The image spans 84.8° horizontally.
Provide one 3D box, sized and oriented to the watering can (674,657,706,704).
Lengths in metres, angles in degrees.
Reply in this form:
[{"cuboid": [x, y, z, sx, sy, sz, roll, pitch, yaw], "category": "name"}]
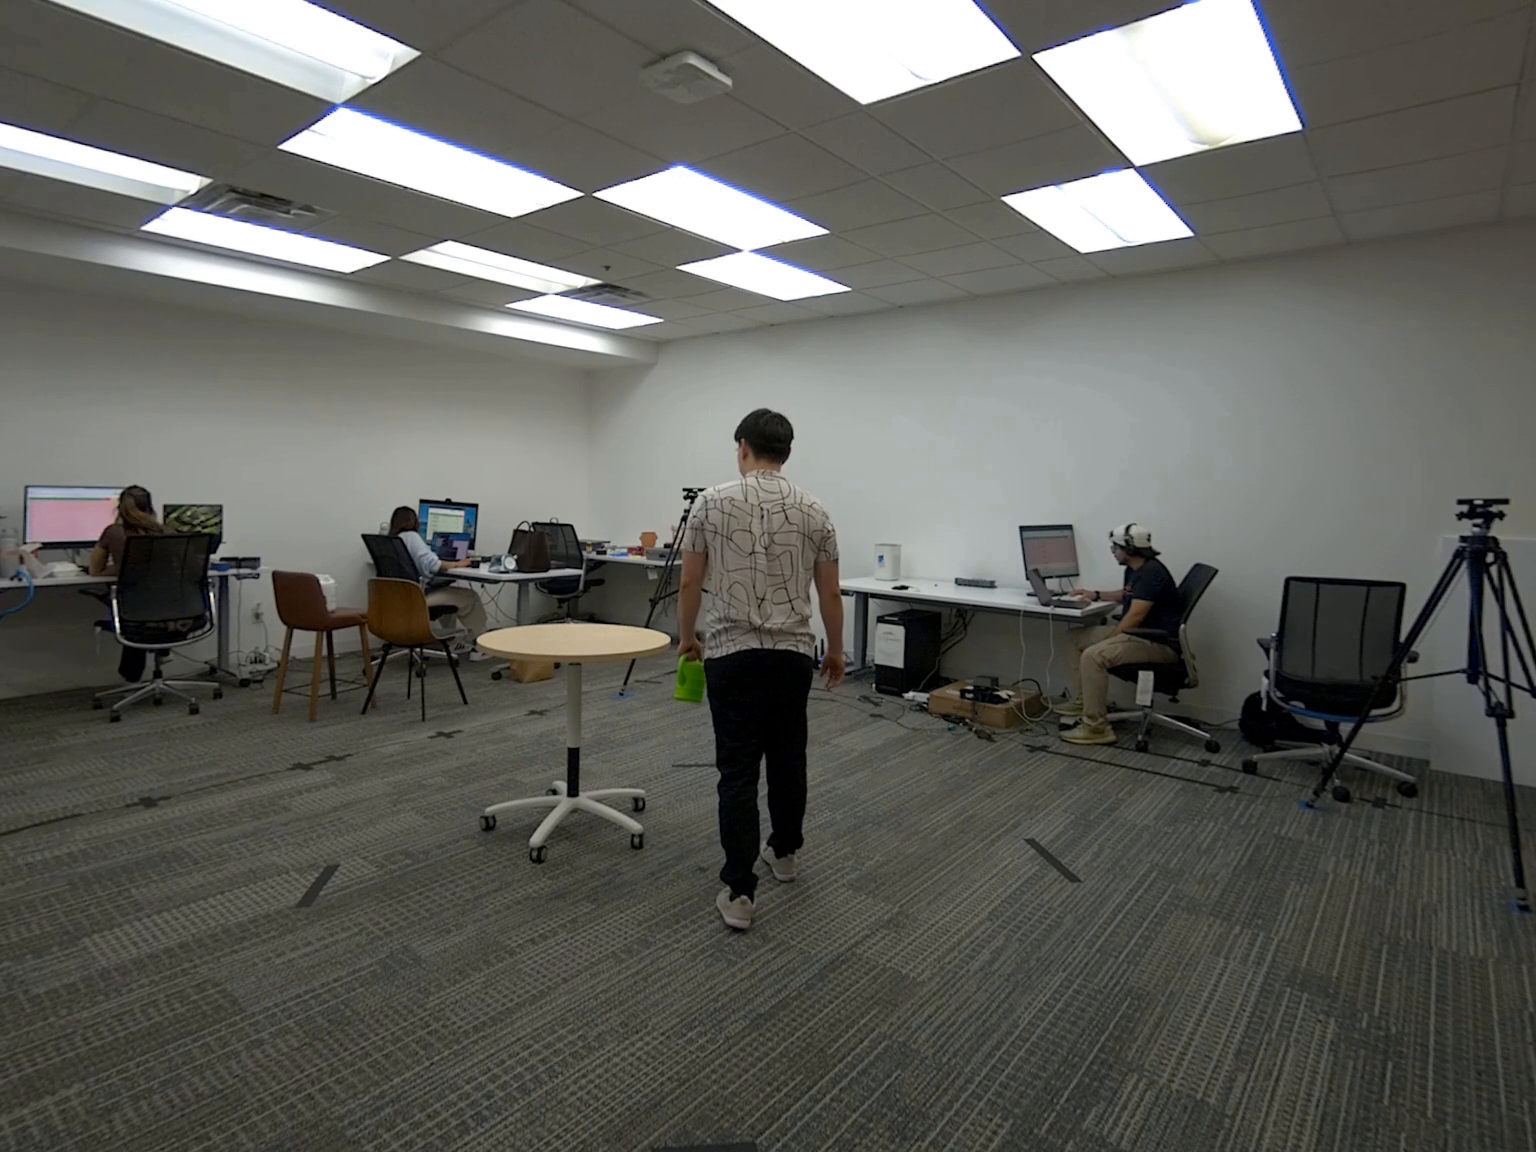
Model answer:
[{"cuboid": [-0.252, 0.368, 3.089, 0.101, 0.178, 0.267, -3, -15, 38], "category": "watering can"}]
